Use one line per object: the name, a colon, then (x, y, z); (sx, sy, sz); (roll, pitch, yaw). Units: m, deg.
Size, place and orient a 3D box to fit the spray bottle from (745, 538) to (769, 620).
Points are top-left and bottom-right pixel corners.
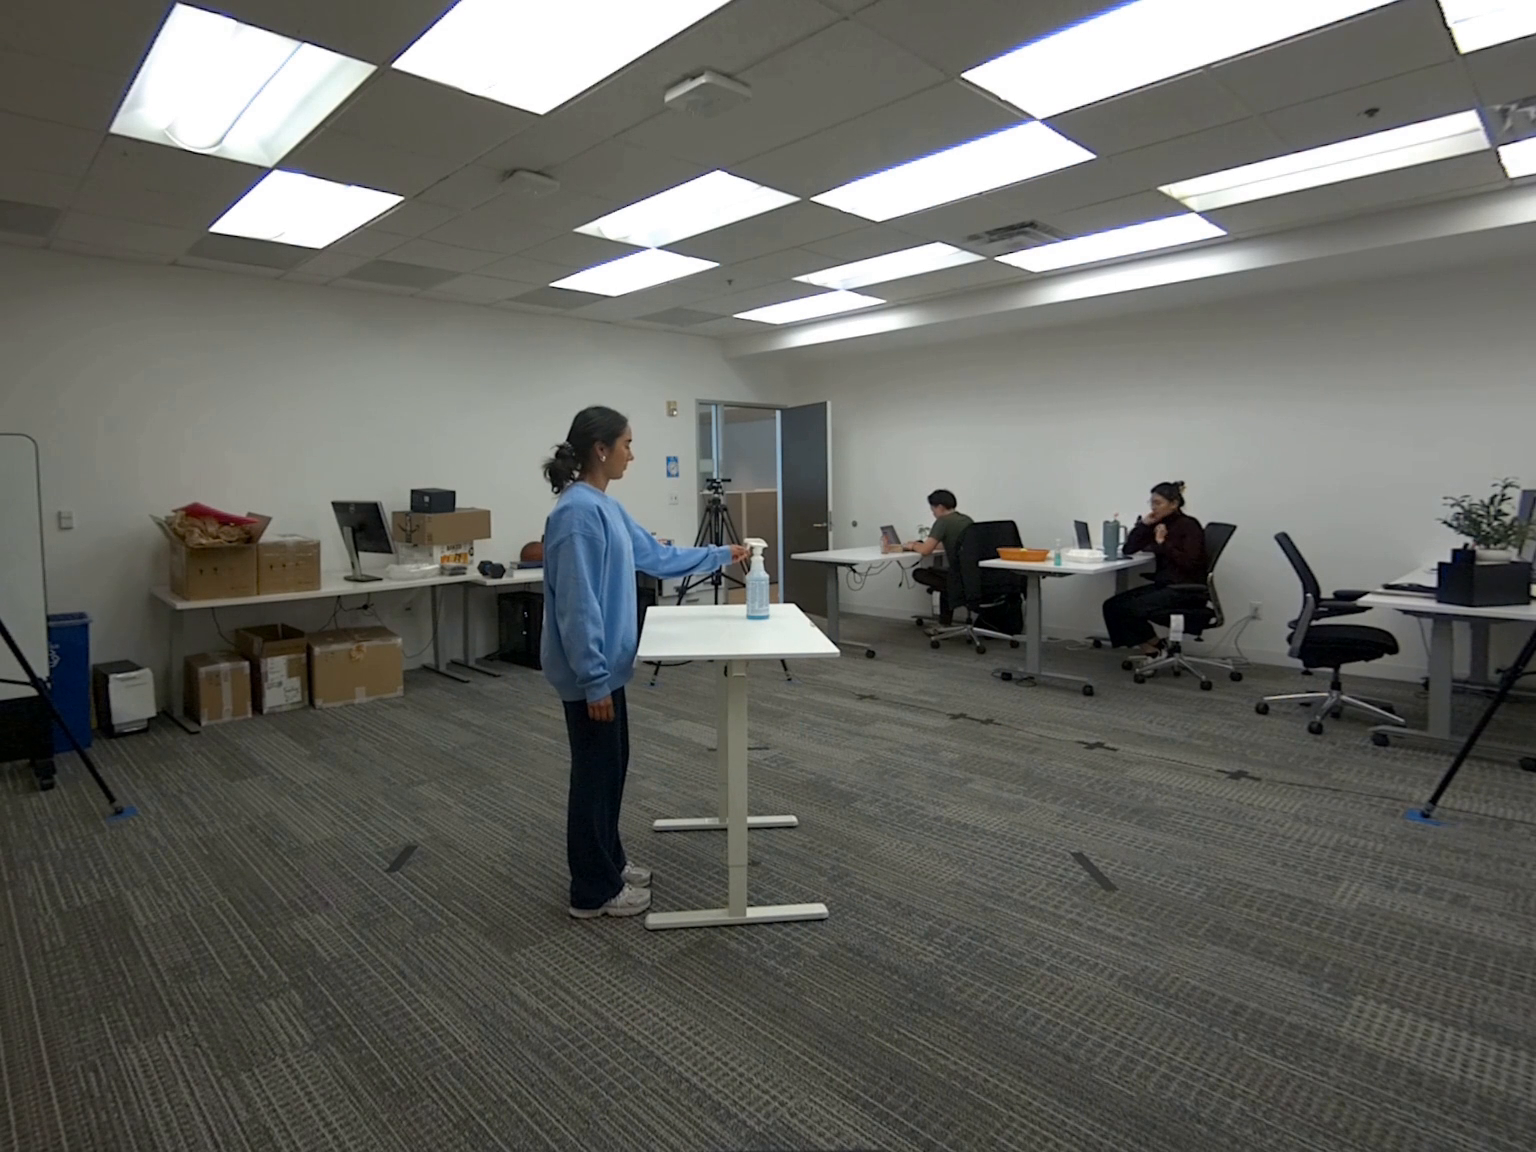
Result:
spray bottle: (-0.044, 0.010, 3.164); (0.090, 0.296, 0.087); (-1, 3, 2)
